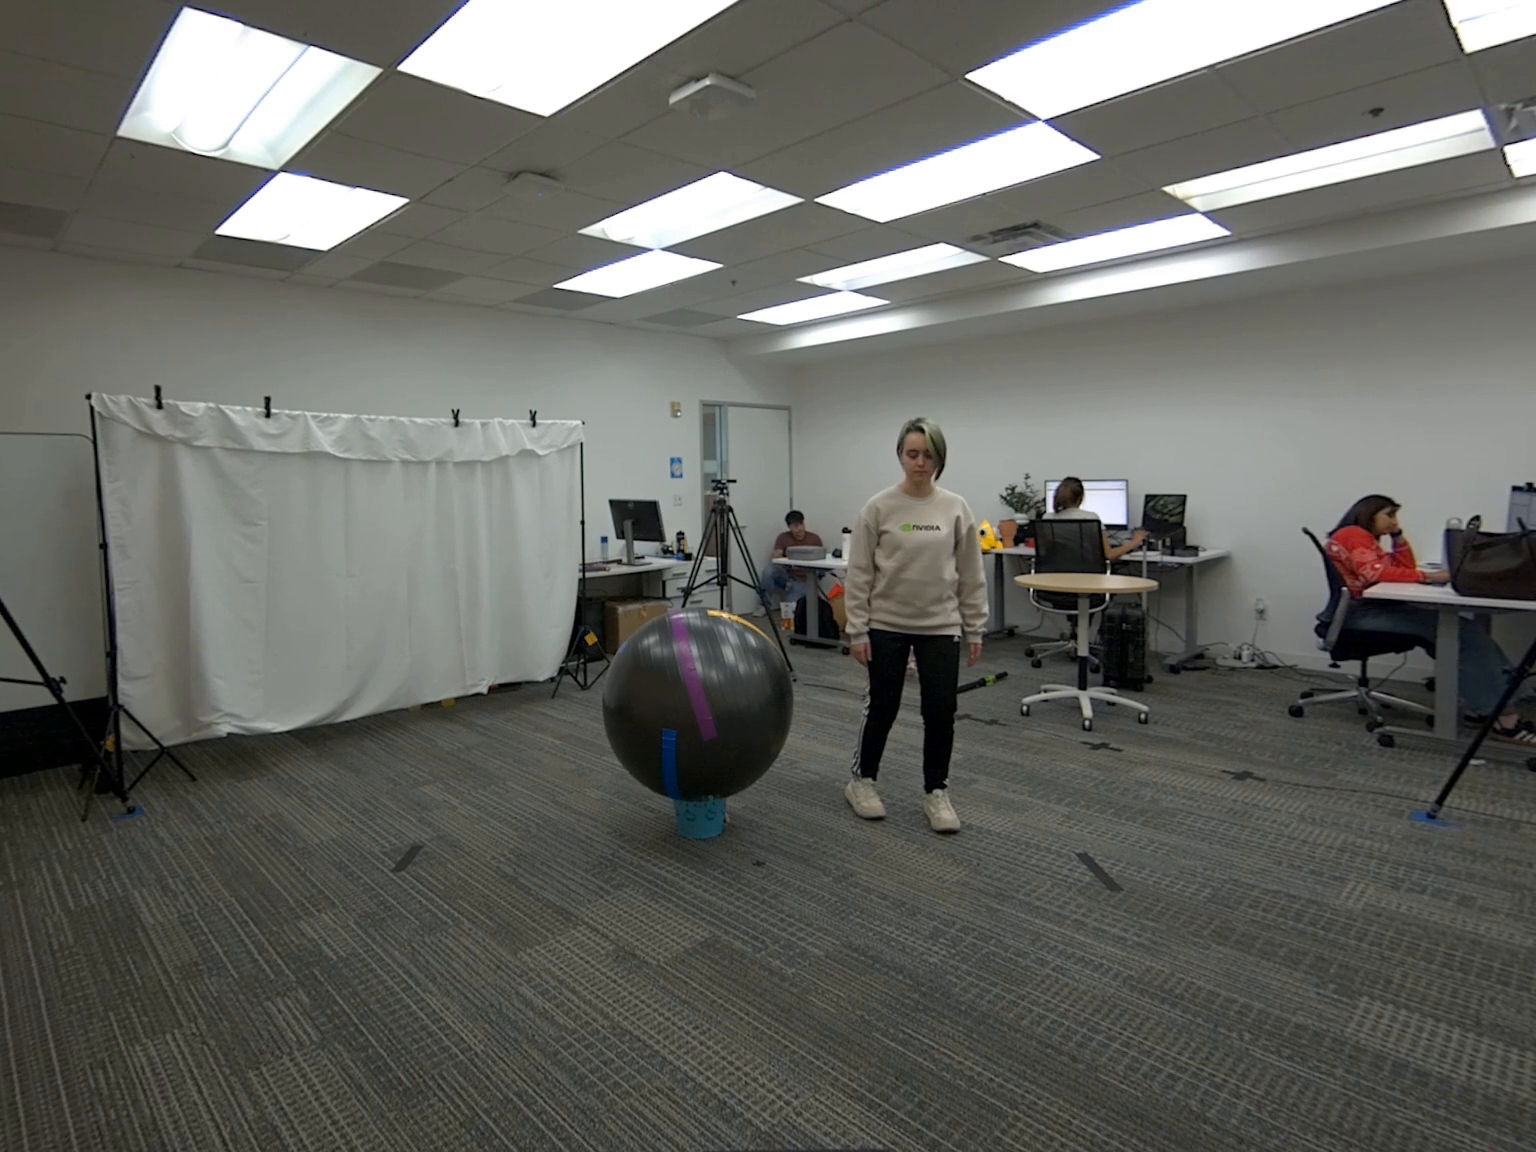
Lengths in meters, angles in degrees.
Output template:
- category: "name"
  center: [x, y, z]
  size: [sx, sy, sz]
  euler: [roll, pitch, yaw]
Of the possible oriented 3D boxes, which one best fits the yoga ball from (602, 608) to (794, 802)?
- category: "yoga ball"
  center: [-0.278, 0.508, 3.401]
  size: [0.757, 0.755, 0.762]
  euler: [-1, 5, -2]
